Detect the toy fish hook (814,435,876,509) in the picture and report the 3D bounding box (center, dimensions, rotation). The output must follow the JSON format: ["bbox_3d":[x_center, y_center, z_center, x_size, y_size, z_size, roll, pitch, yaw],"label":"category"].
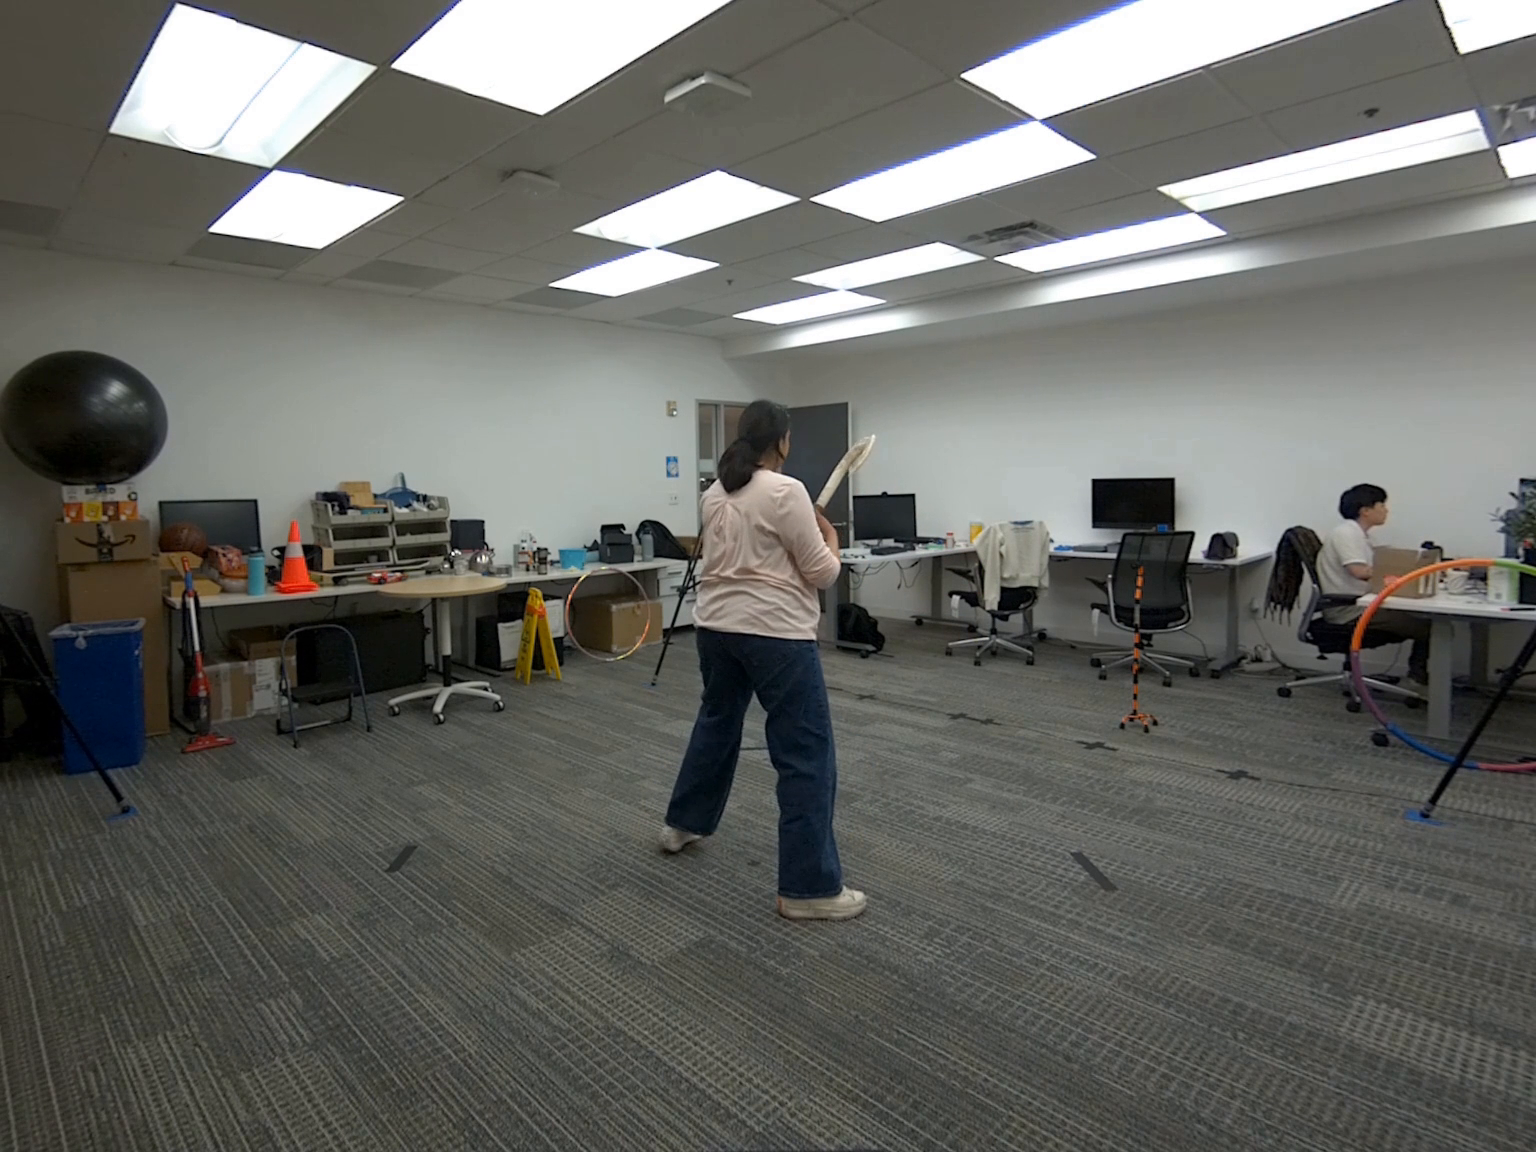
[{"bbox_3d":[0.224,-0.295,3.034,0.048,0.507,0.226,34,-9,-7],"label":"toy fish hook"}]
